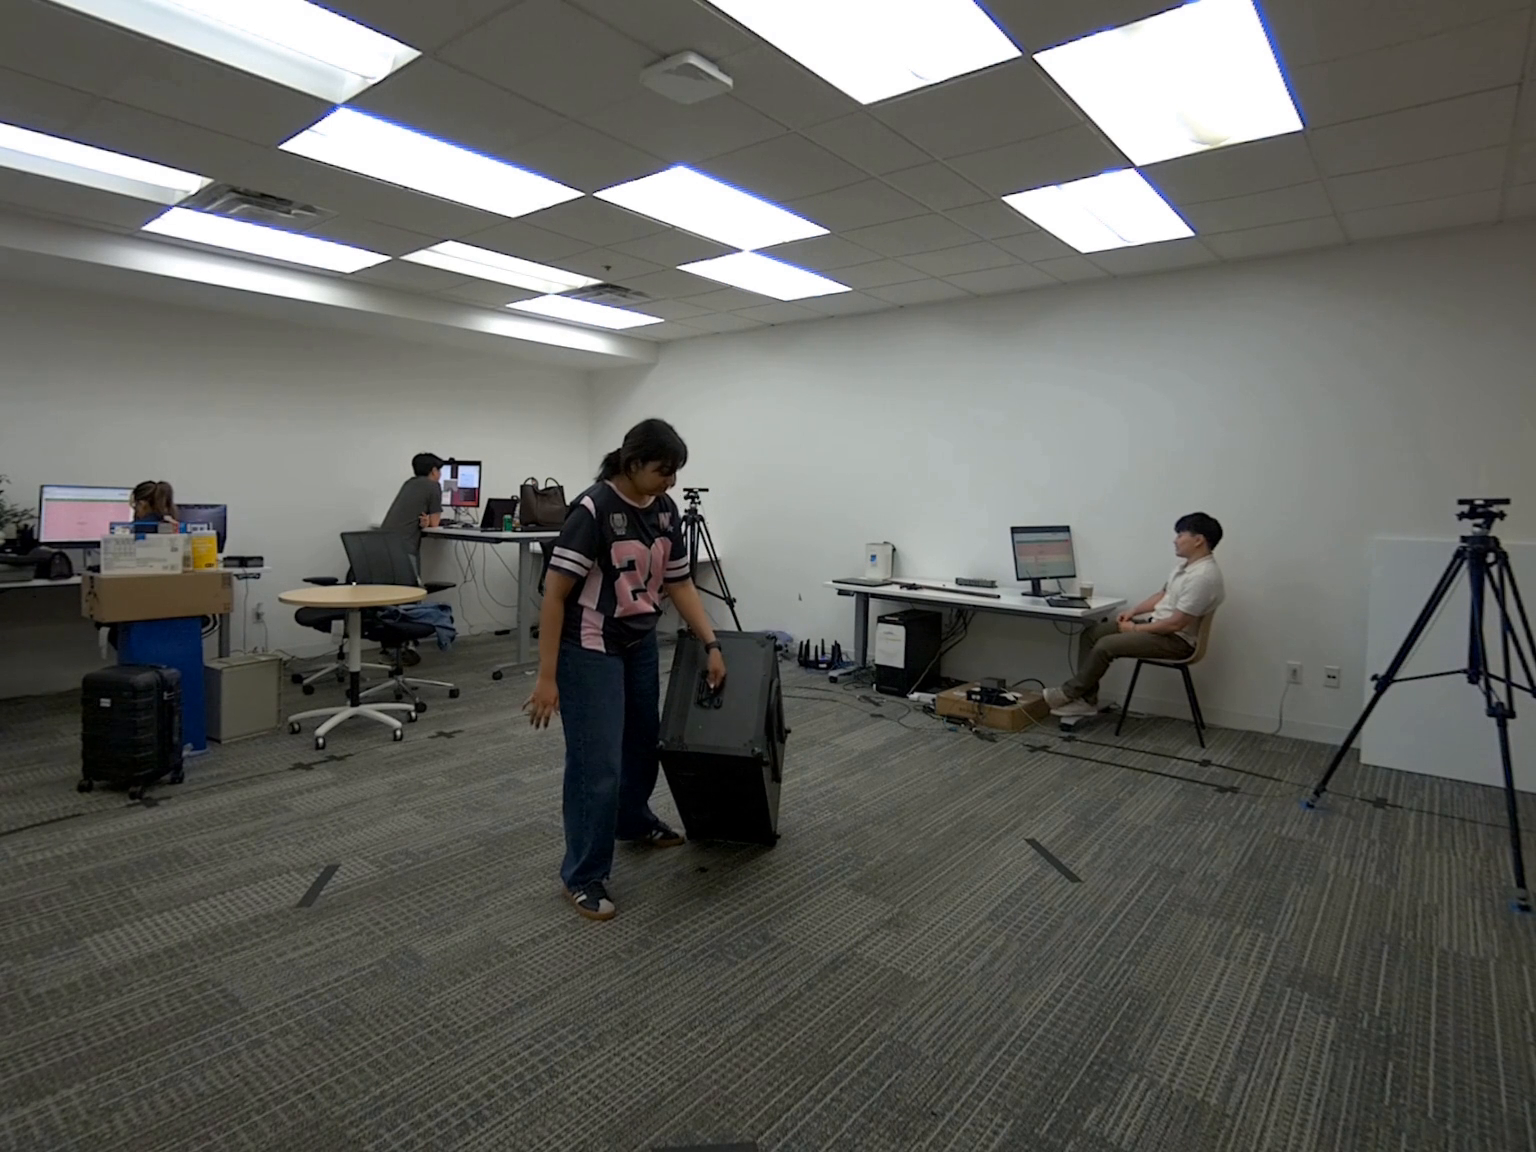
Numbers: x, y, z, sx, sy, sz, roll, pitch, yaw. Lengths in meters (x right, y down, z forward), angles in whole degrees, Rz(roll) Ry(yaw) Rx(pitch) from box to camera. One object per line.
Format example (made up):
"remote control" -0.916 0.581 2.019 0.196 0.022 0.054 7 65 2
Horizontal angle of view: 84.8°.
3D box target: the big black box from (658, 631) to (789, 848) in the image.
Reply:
"big black box" -0.150 0.637 3.243 0.389 0.536 0.840 1 -39 8
